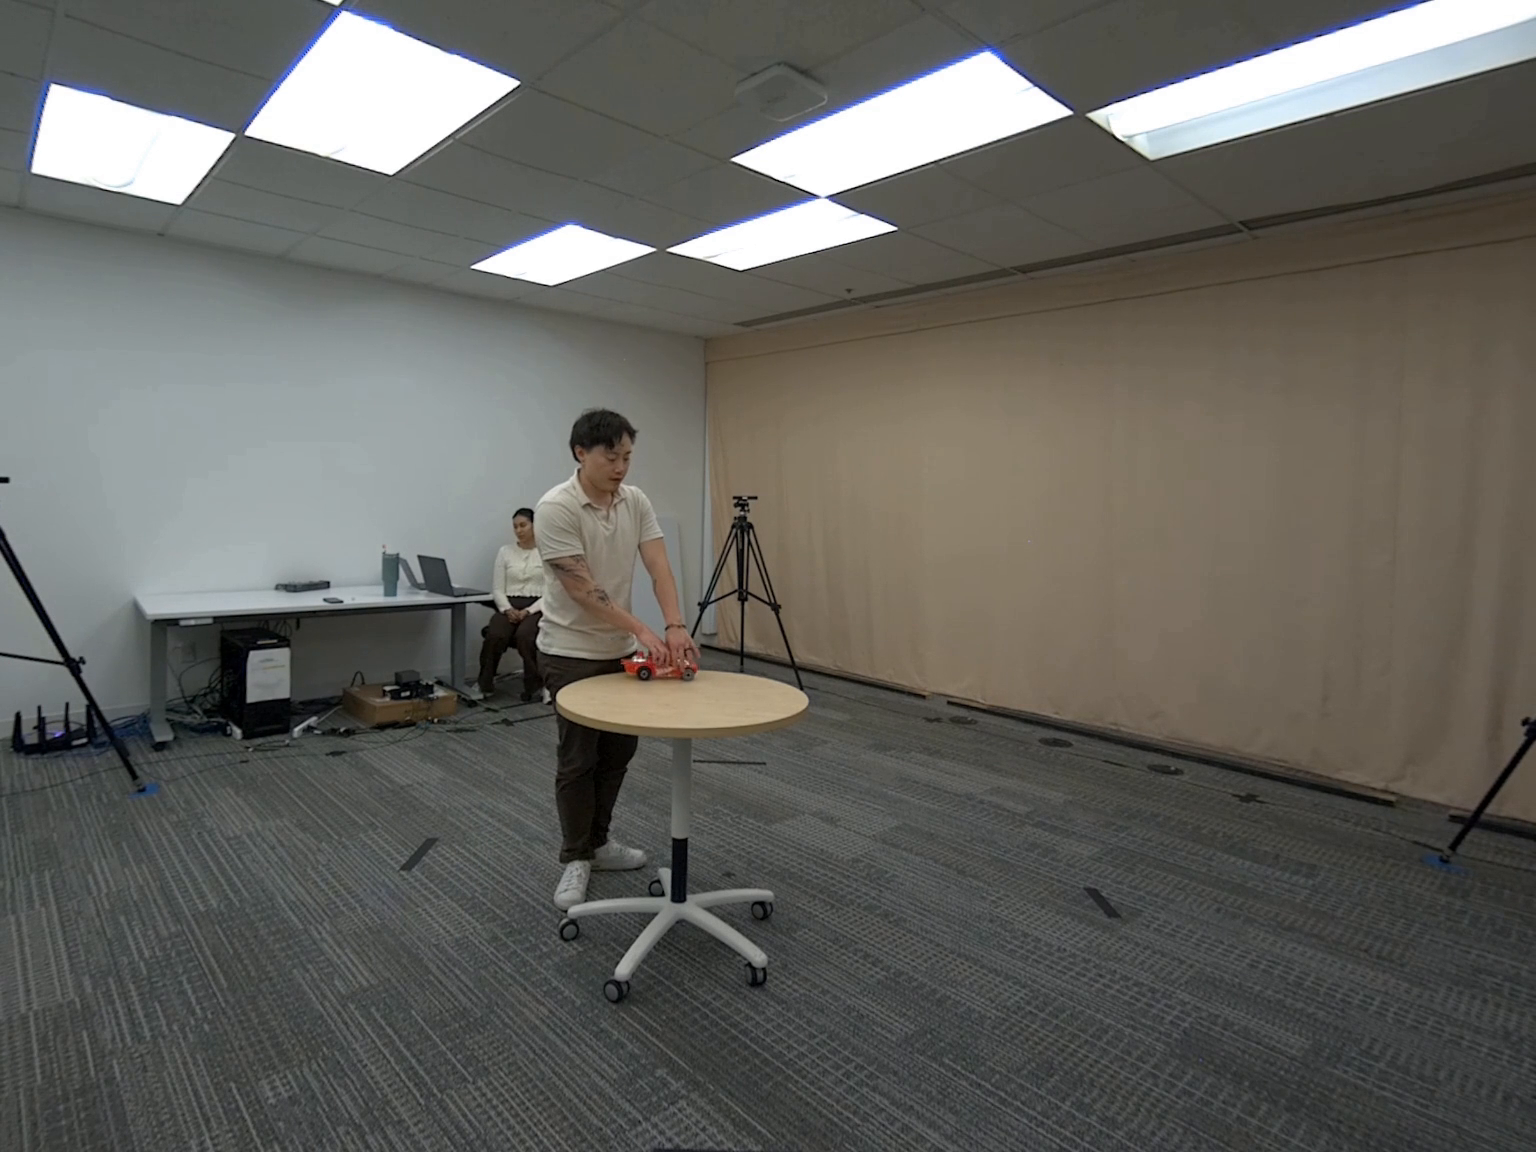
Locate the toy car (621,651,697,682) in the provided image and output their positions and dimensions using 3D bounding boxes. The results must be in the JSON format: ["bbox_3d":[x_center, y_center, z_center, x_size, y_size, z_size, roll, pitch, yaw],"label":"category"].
[{"bbox_3d":[-0.382,0.311,2.806,0.252,0.083,0.131,14,0,-9],"label":"toy car"}]
